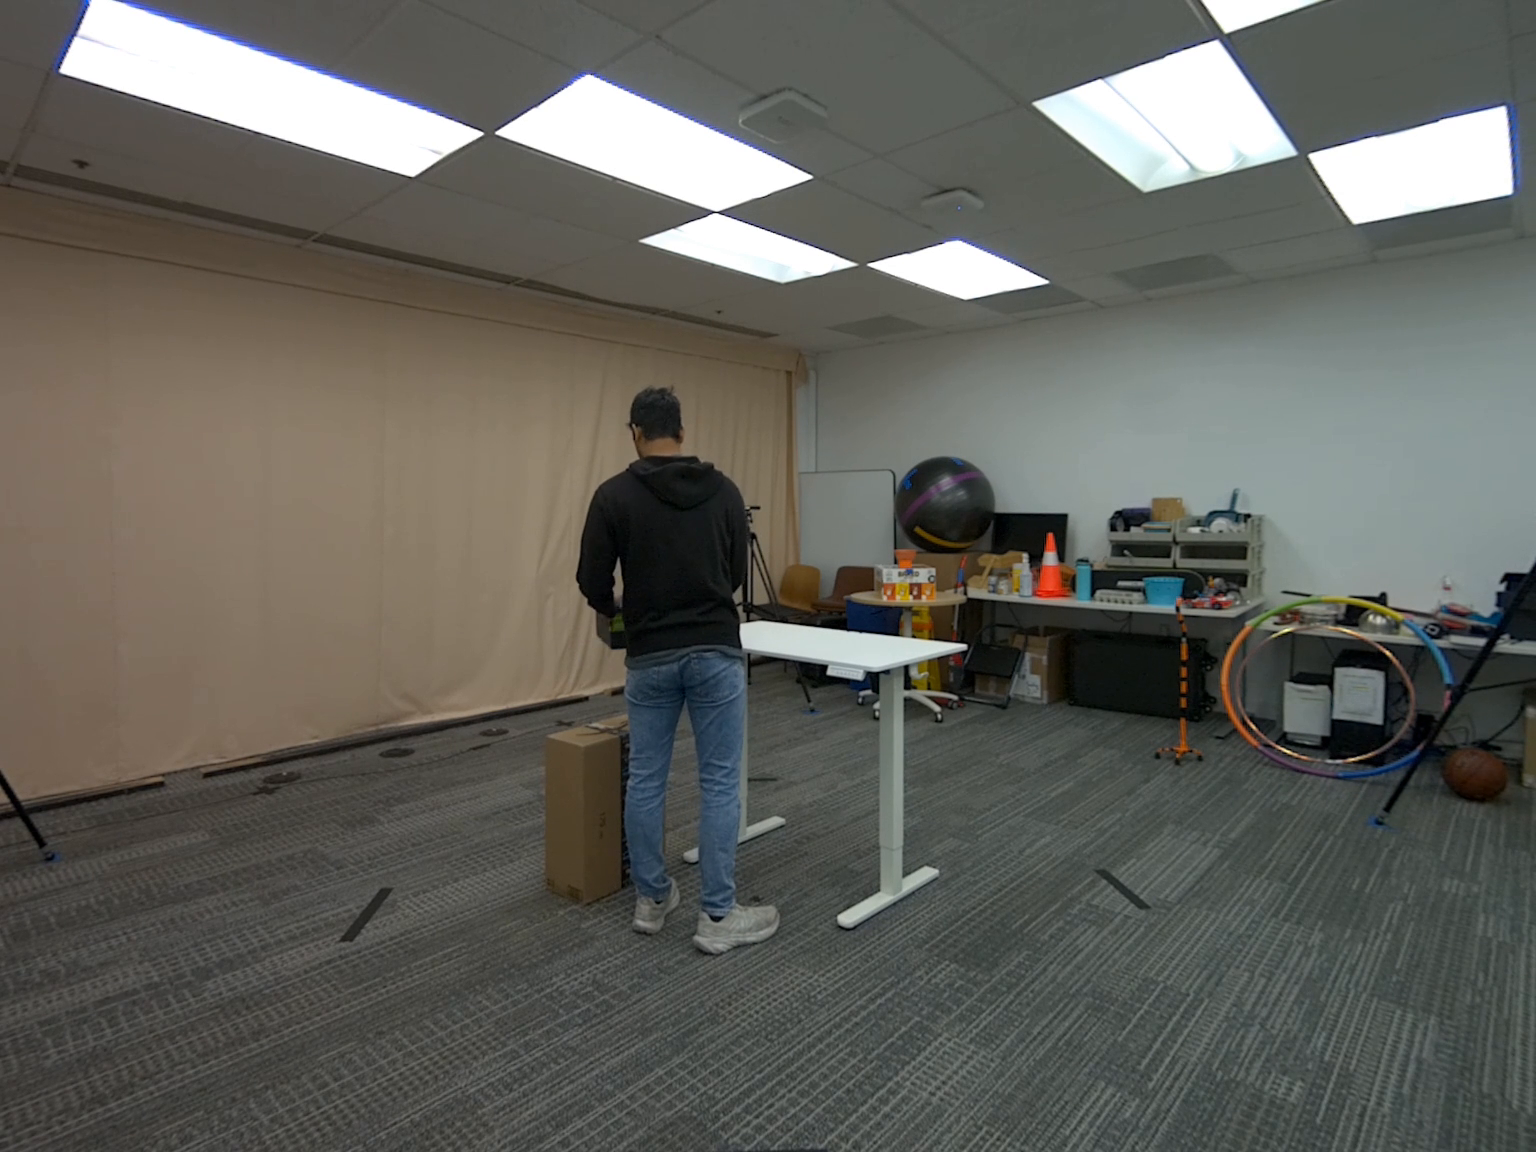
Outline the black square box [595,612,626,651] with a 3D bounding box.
[{"bbox_3d":[-0.502,0.171,3.186,0.223,0.155,0.223,-2,11,-23],"label":"black square box"}]
